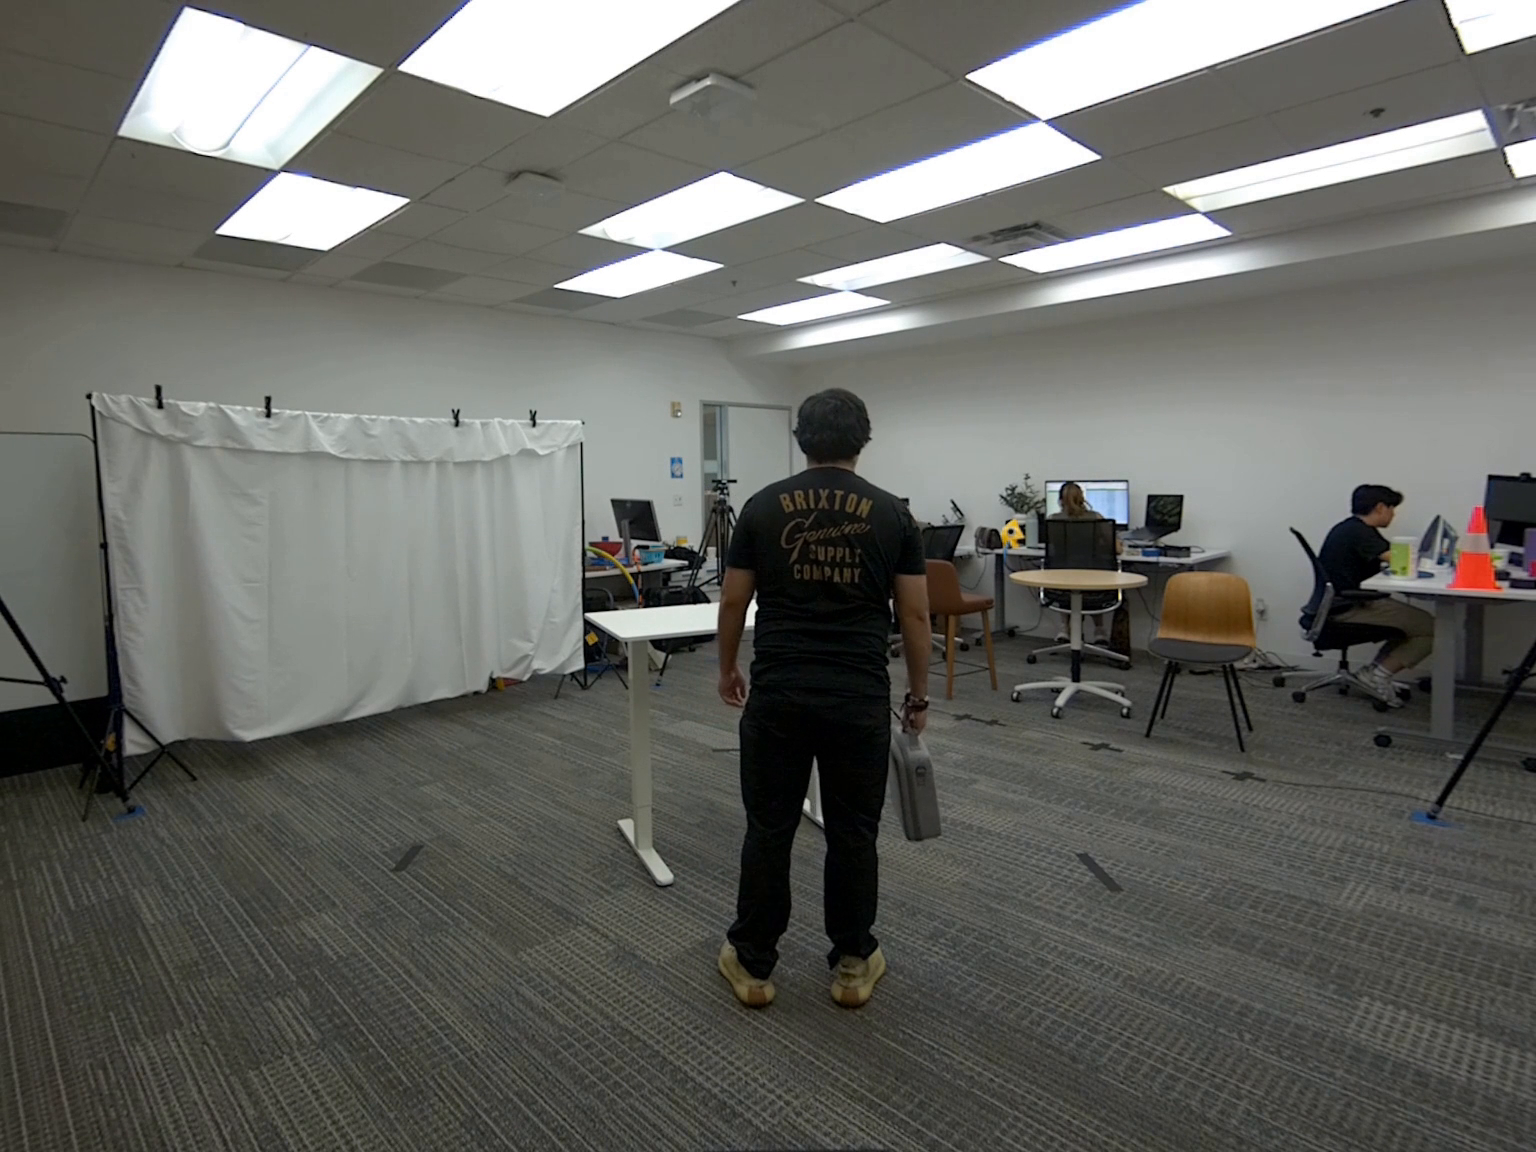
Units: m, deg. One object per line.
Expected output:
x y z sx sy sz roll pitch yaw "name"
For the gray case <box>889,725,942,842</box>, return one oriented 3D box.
0.420 0.586 2.439 0.105 0.259 0.258 -6 8 3 "gray case"
